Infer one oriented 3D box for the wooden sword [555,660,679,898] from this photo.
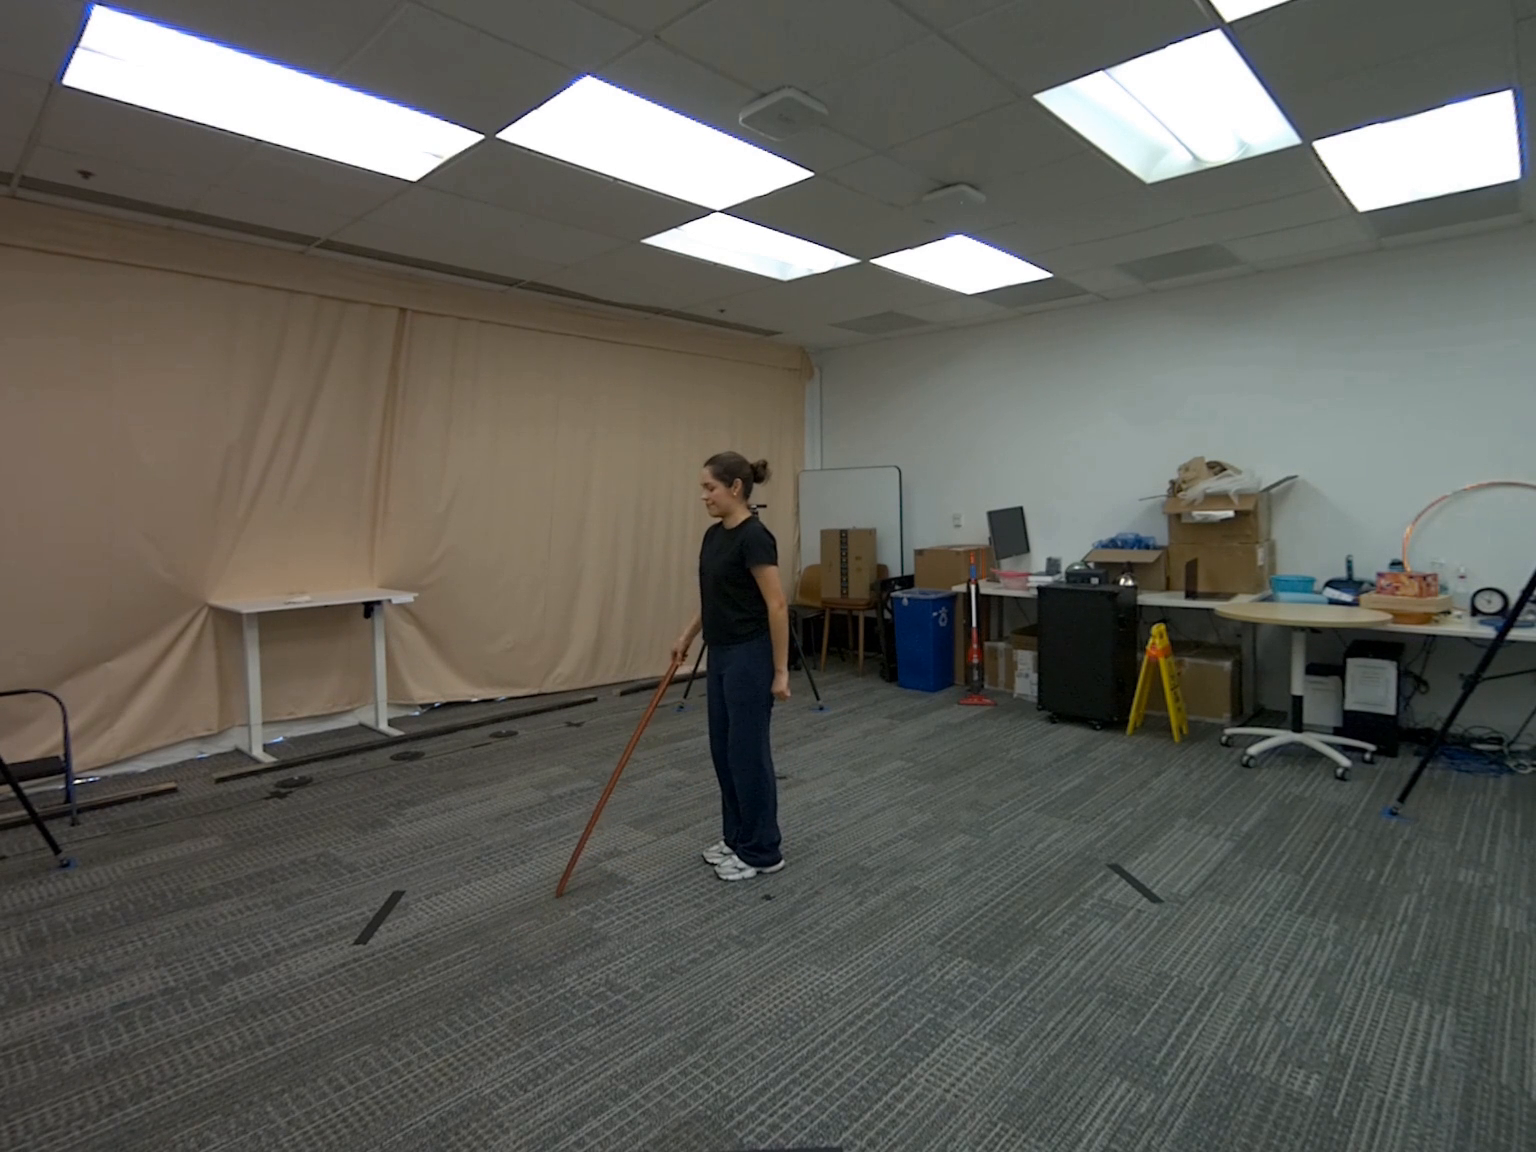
[{"bbox_3d":[-0.535,0.733,3.228,0.024,1.026,0.052,31,-25,-9],"label":"wooden sword"}]
